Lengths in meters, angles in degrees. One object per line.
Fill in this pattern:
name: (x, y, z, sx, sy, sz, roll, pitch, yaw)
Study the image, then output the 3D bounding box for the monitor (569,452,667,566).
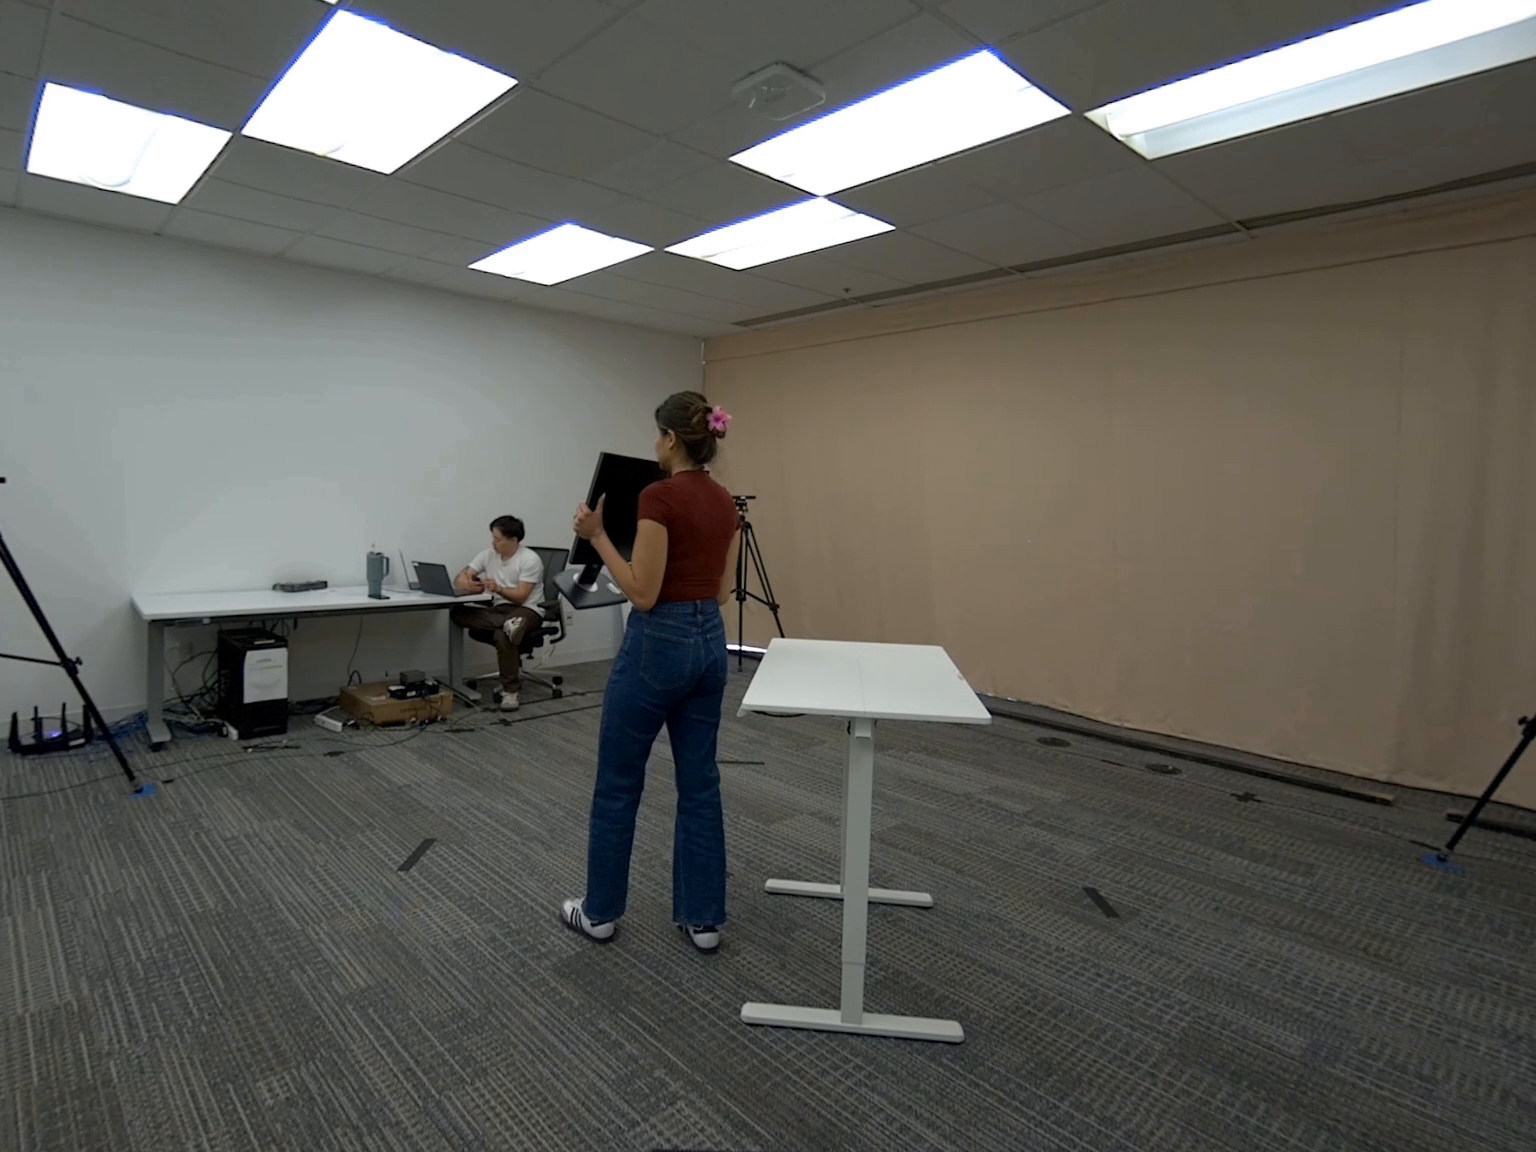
monitor: (-0.472, -0.146, 2.750, 0.192, 0.520, 0.528, 40, 20, 23)
